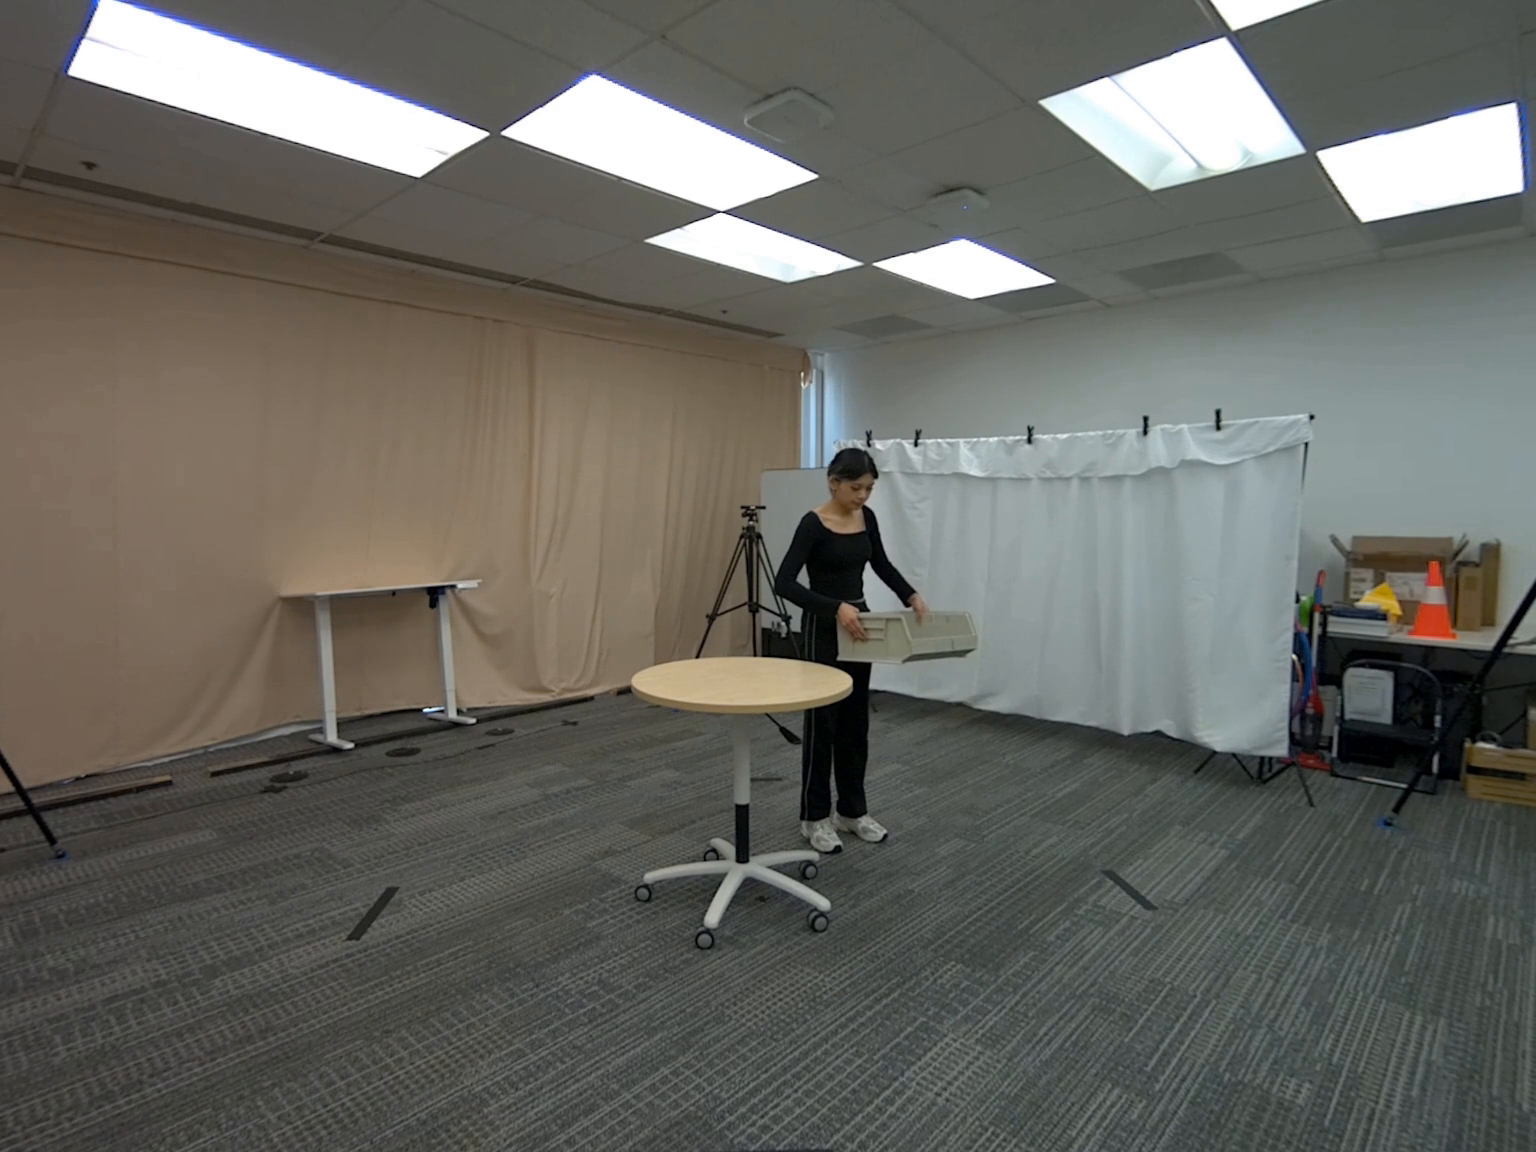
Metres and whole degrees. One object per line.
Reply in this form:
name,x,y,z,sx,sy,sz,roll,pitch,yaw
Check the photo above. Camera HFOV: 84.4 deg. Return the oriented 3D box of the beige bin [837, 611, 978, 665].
beige bin,0.541,0.231,3.279,0.409,0.189,0.388,-1,-3,-41
